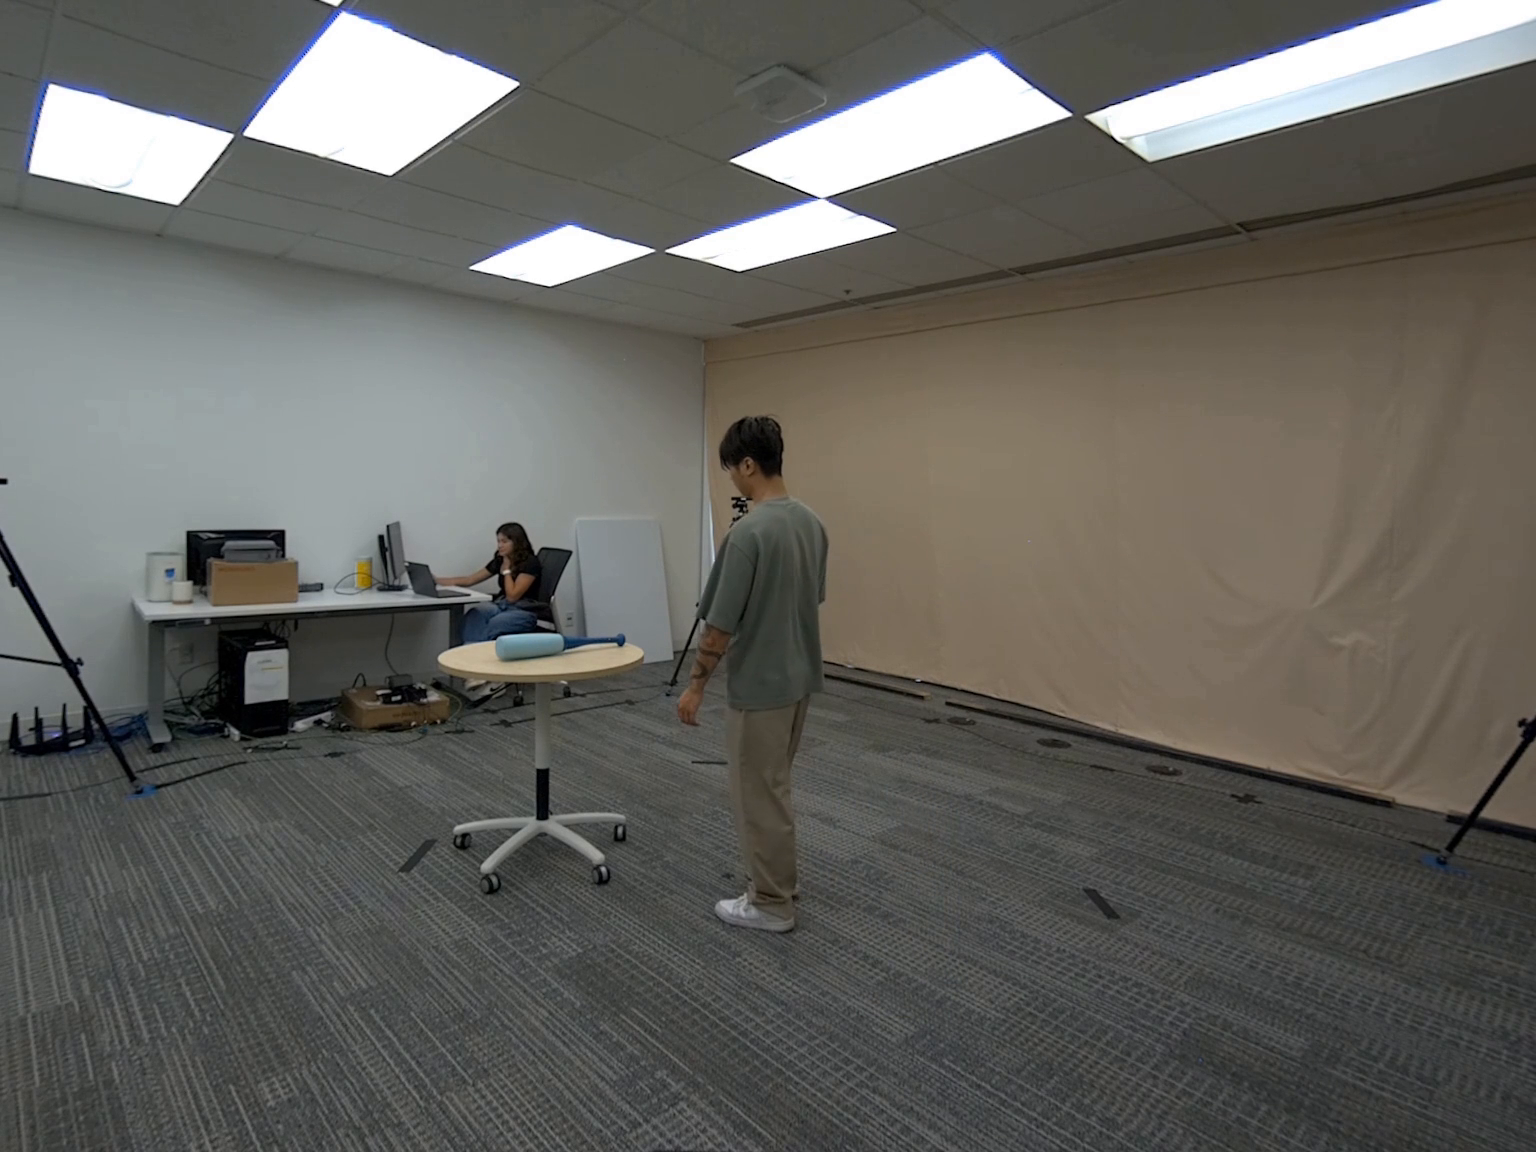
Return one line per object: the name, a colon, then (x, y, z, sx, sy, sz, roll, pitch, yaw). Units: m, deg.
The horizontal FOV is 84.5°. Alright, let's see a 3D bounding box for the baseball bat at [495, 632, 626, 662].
baseball bat: (-0.785, 0.260, 3.224, 0.530, 0.089, 0.091, 0, 4, -43)
